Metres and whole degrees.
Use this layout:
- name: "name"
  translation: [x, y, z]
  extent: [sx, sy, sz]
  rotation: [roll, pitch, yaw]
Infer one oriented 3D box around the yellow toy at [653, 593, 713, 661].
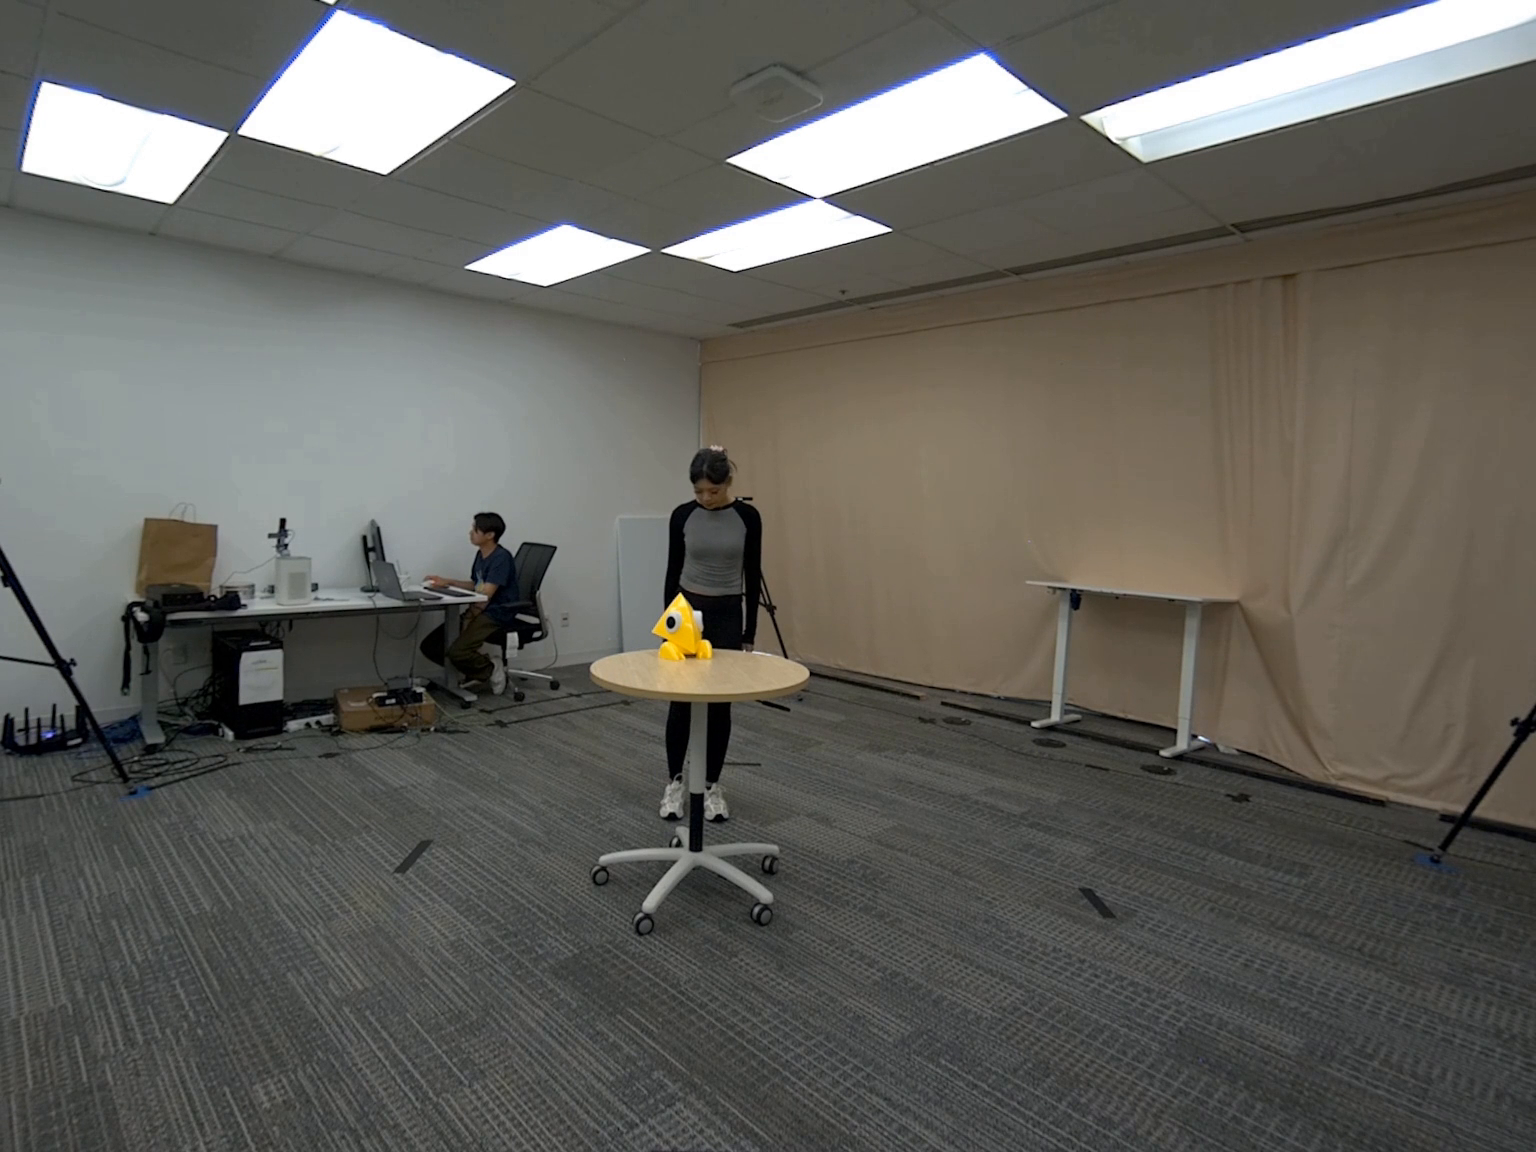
- name: "yellow toy"
  translation: [-0.325, 0.186, 3.184]
  extent: [0.201, 0.230, 0.197]
  rotation: [-1, 5, -26]
